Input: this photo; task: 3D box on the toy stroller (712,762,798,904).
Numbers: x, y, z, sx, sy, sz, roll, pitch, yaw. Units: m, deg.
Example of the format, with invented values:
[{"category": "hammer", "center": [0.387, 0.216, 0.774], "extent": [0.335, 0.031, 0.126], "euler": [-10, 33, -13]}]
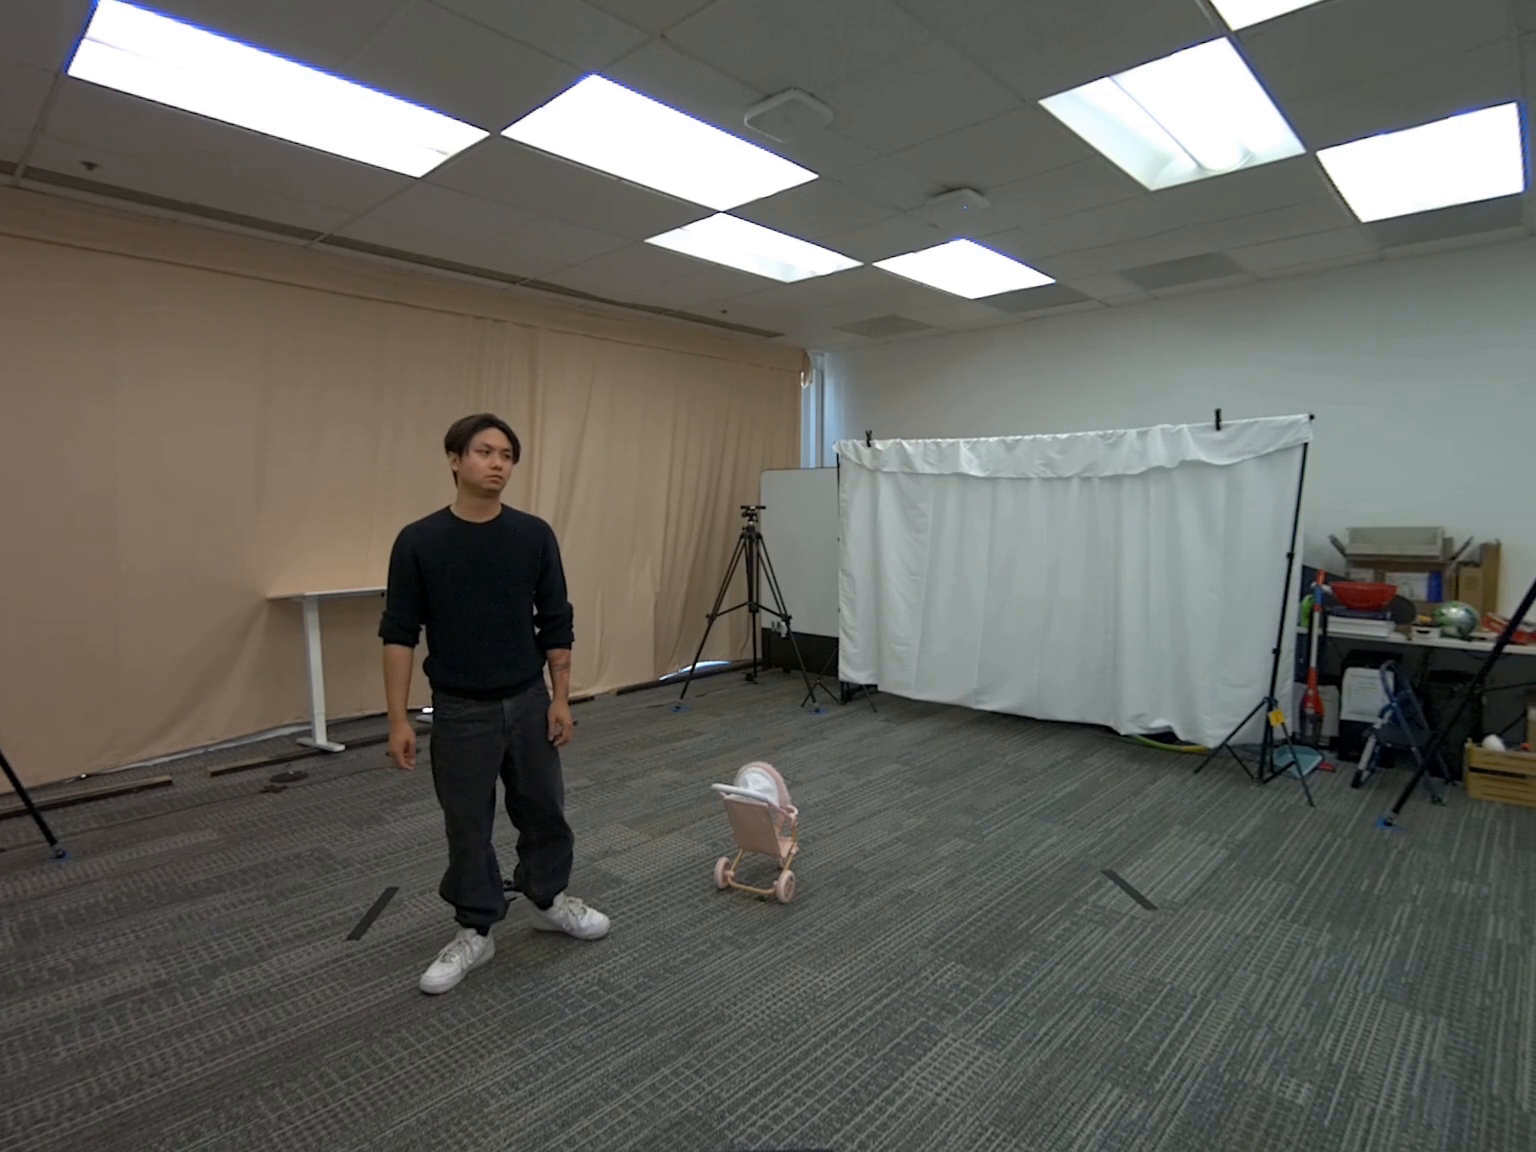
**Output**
[{"category": "toy stroller", "center": [-0.019, 0.910, 3.061], "extent": [0.289, 0.528, 0.336], "euler": [2, 19, 29]}]
